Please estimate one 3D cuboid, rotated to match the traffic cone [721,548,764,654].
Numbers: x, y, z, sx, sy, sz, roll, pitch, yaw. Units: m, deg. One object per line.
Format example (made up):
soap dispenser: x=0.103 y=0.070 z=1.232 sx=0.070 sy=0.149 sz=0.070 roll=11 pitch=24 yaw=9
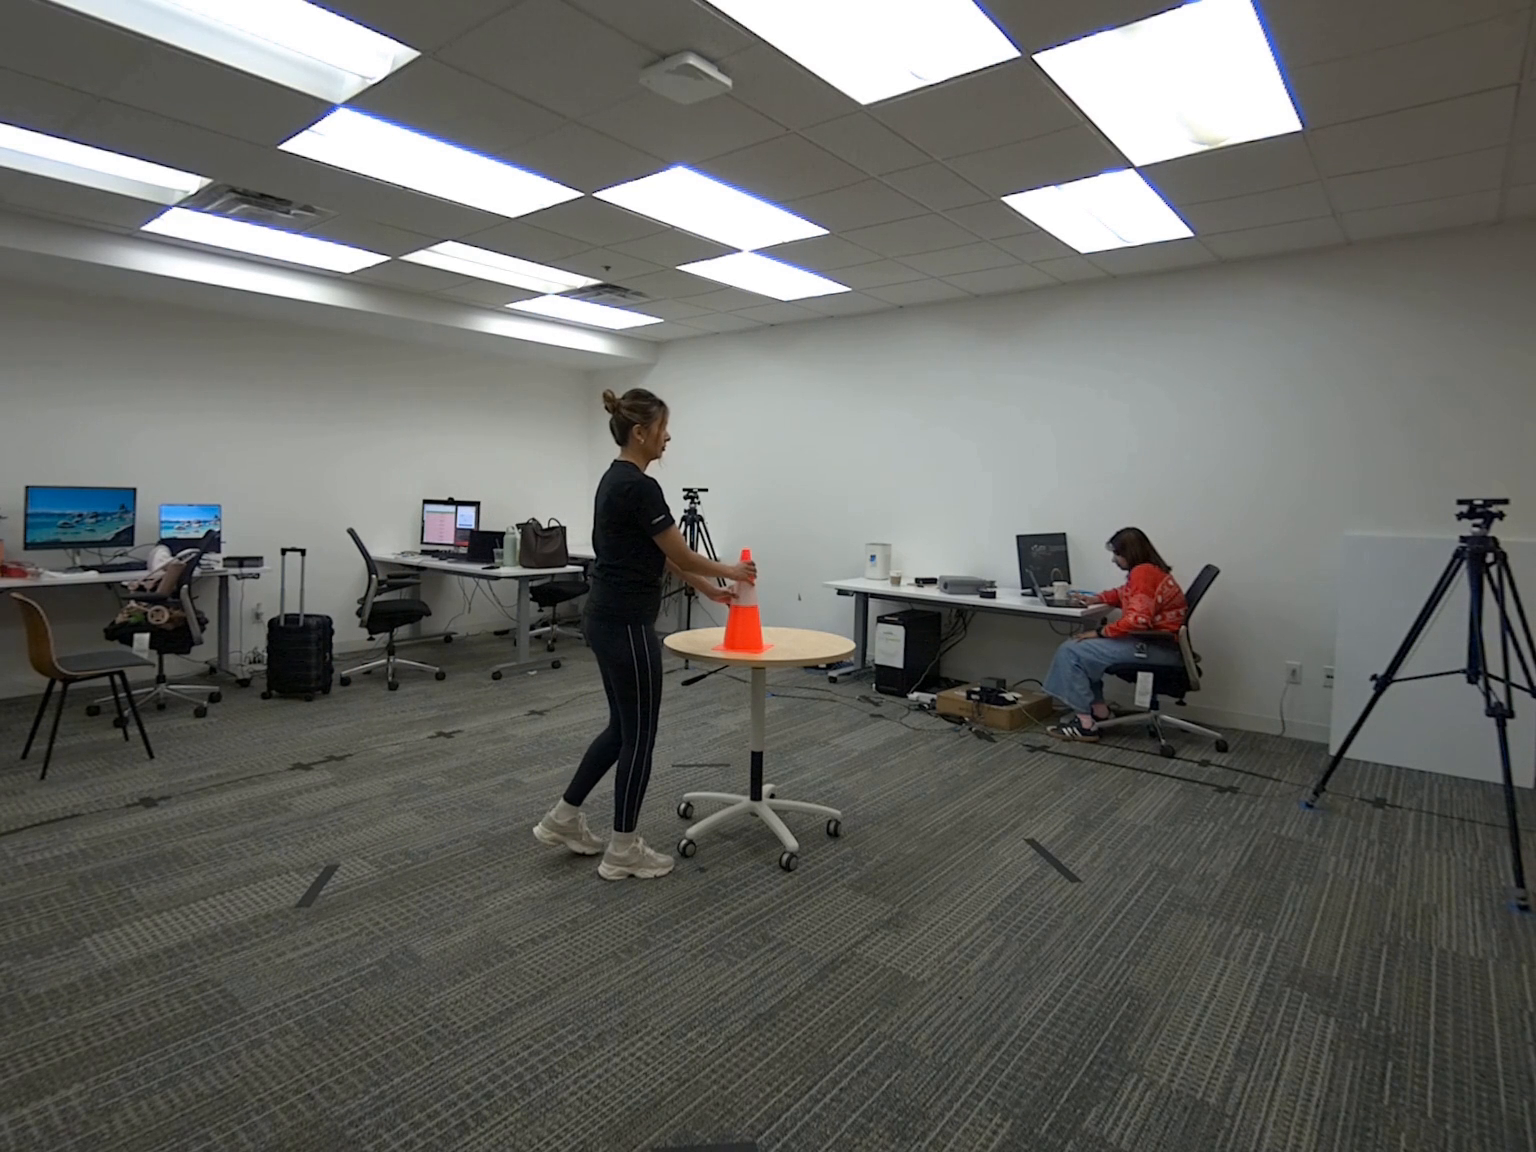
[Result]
traffic cone: x=-0.102 y=0.086 z=3.267 sx=0.209 sy=0.383 sz=0.200 roll=3 pitch=3 yaw=26
